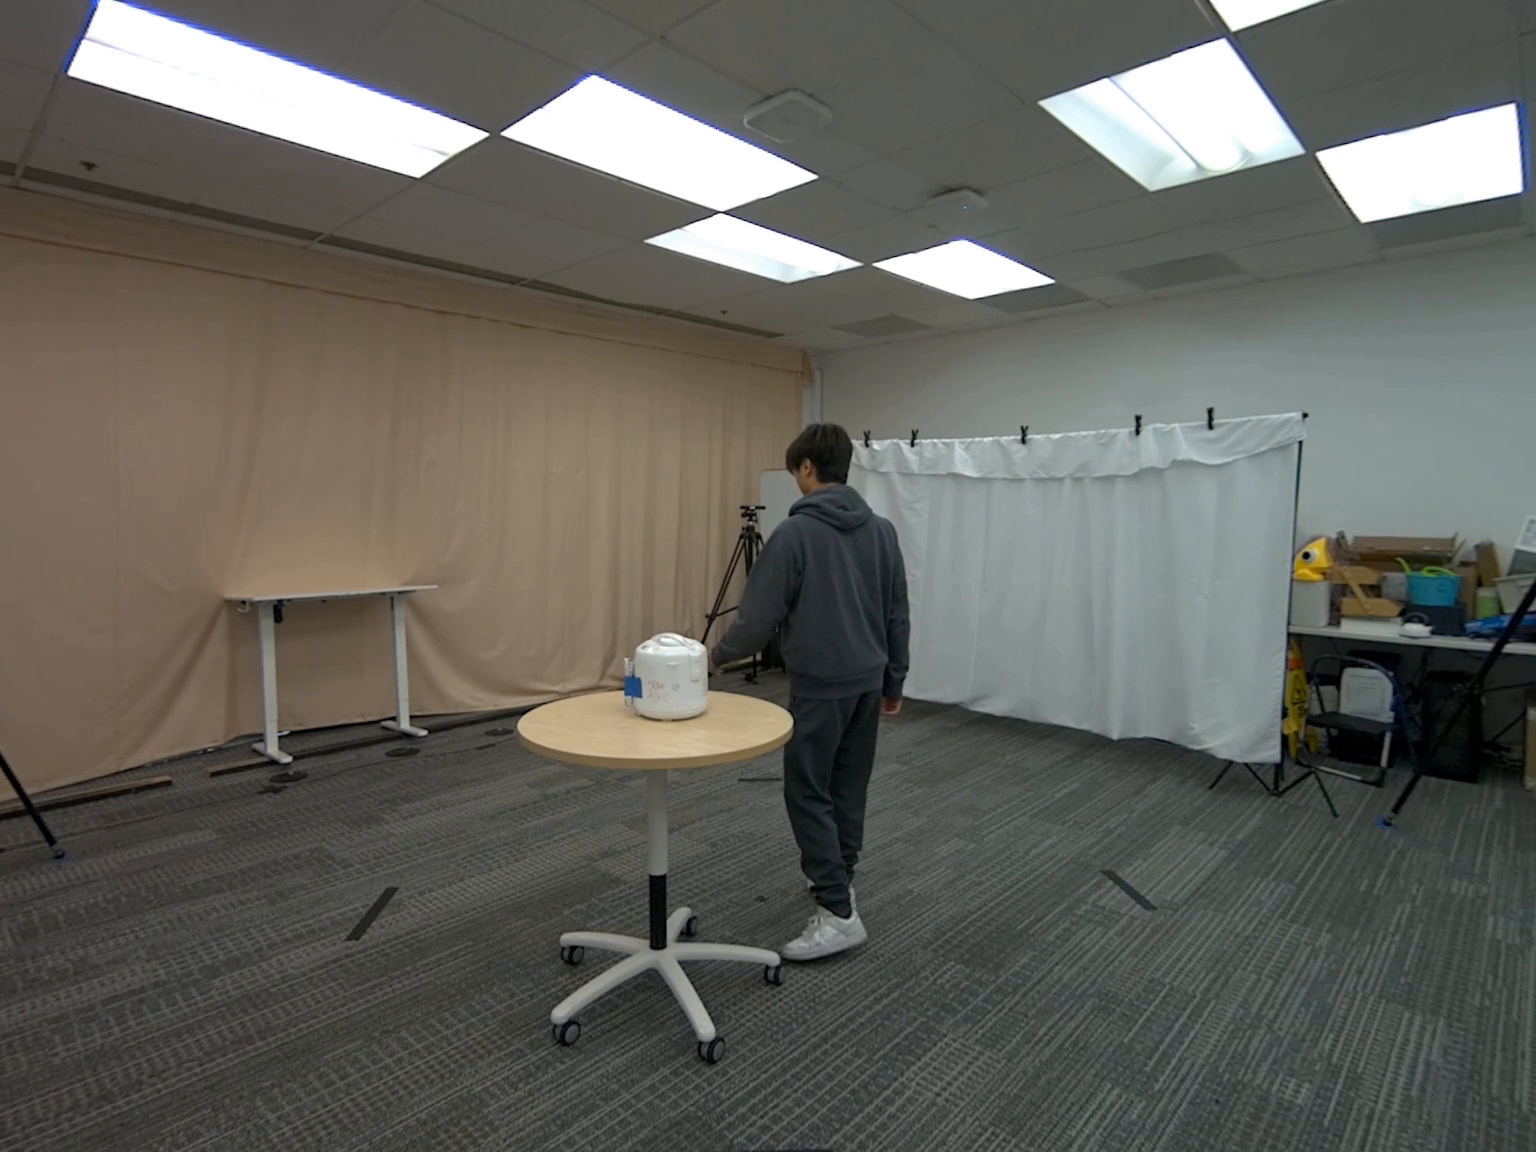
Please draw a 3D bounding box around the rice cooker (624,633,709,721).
[{"bbox_3d":[-0.279,0.280,2.417,0.228,0.232,0.211,3,5,43],"label":"rice cooker"}]
